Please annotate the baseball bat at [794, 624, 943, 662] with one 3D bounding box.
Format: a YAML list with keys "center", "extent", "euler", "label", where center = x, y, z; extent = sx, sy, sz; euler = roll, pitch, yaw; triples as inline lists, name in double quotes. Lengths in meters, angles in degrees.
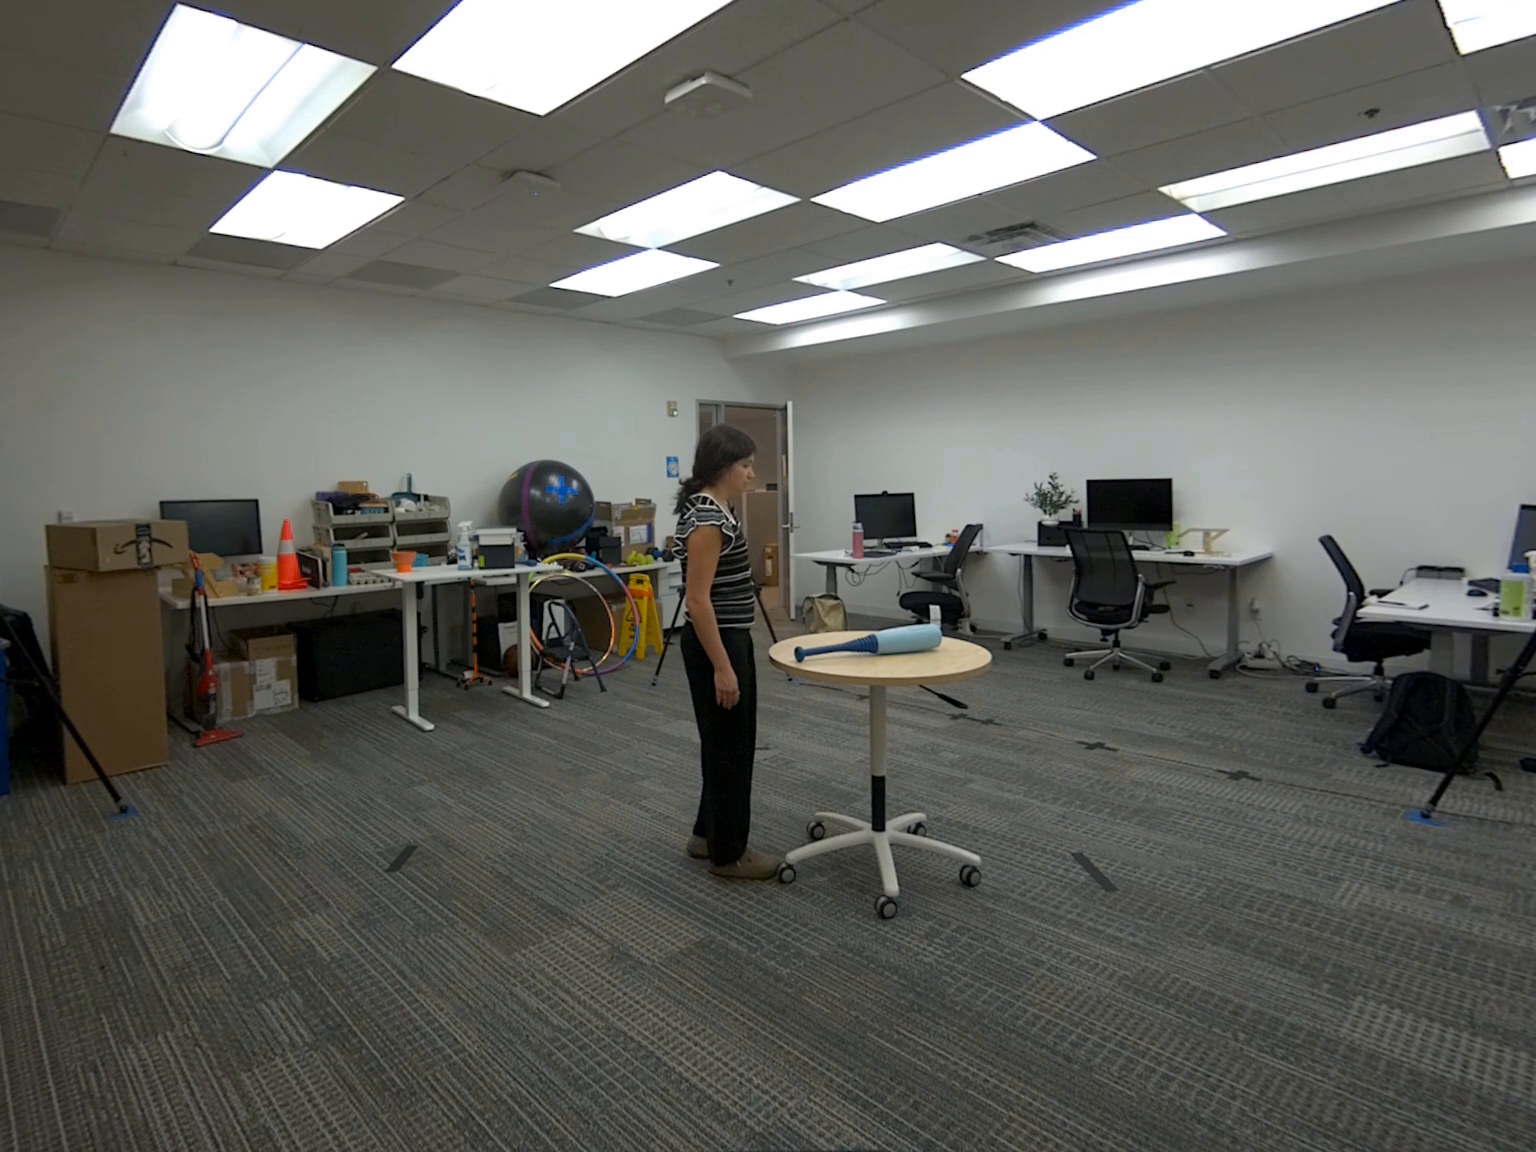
- center: [0.347, 0.238, 2.930]
  extent: [0.534, 0.088, 0.091]
  euler: [-5, 6, -18]
  label: "baseball bat"
